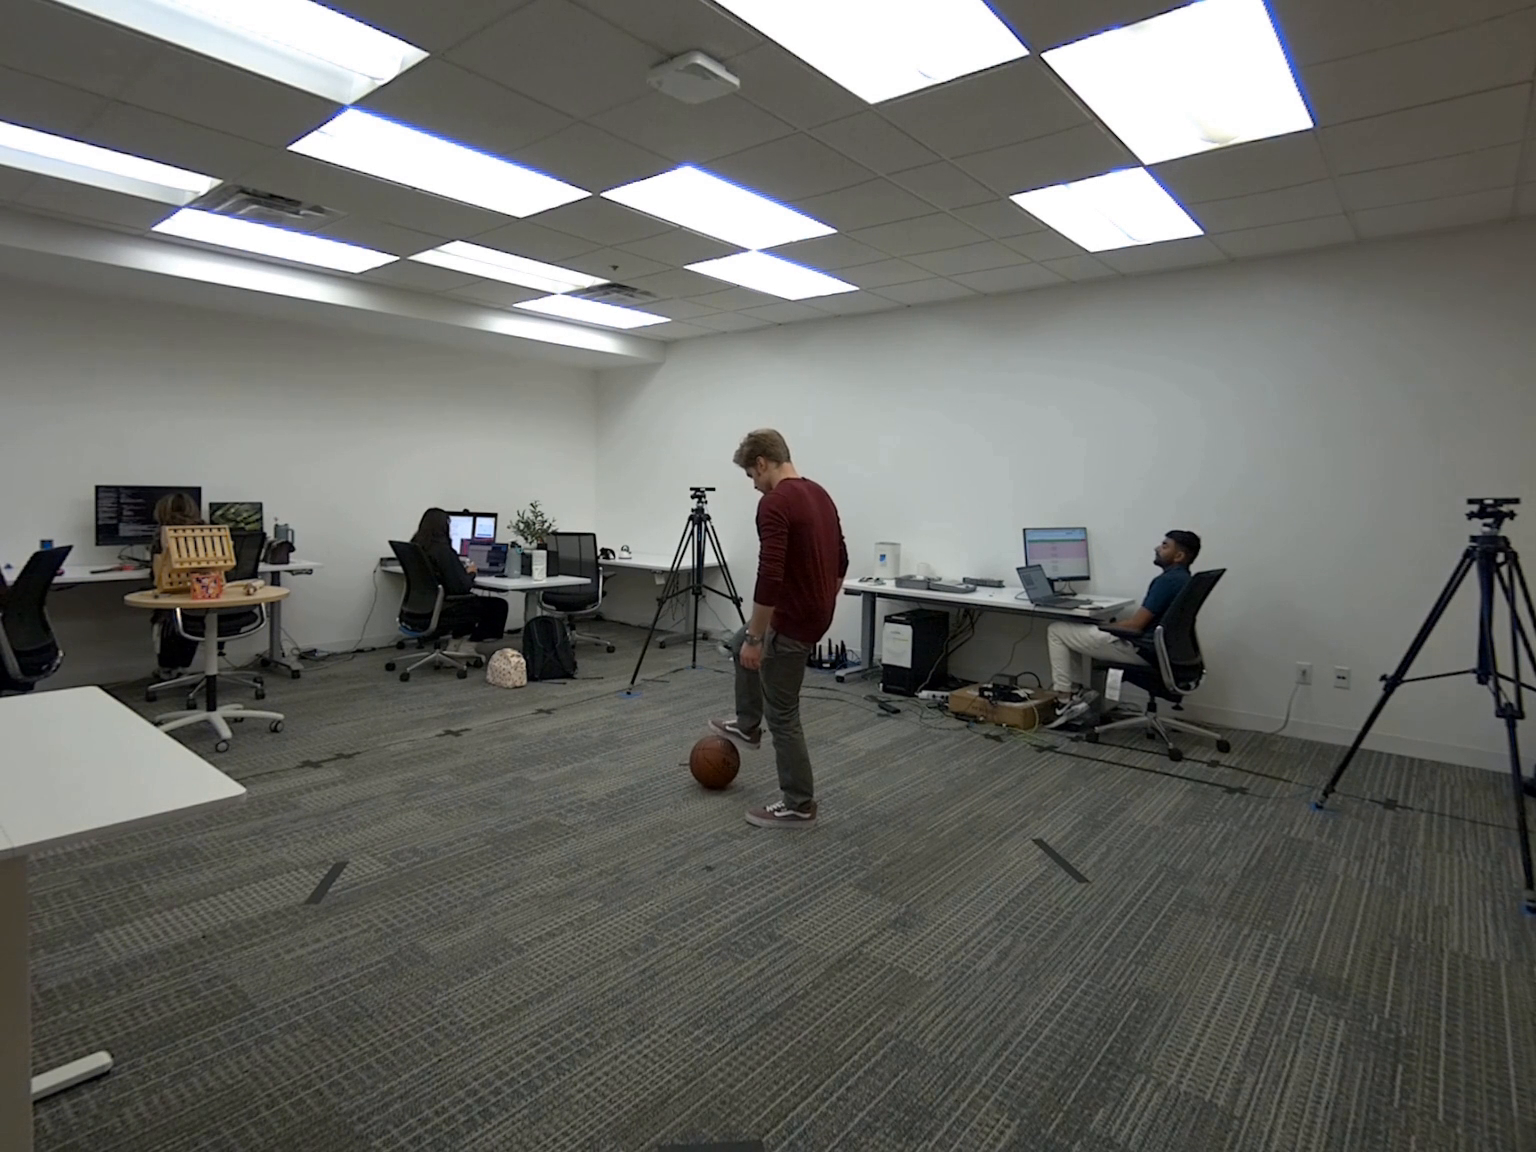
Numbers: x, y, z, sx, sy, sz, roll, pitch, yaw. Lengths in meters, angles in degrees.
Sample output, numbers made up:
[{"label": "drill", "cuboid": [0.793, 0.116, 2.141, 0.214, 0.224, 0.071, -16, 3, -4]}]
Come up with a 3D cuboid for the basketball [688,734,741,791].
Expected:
[{"label": "basketball", "cuboid": [-0.263, 0.861, 3.972, 0.235, 0.235, 0.237, 1, 4, -2]}]
